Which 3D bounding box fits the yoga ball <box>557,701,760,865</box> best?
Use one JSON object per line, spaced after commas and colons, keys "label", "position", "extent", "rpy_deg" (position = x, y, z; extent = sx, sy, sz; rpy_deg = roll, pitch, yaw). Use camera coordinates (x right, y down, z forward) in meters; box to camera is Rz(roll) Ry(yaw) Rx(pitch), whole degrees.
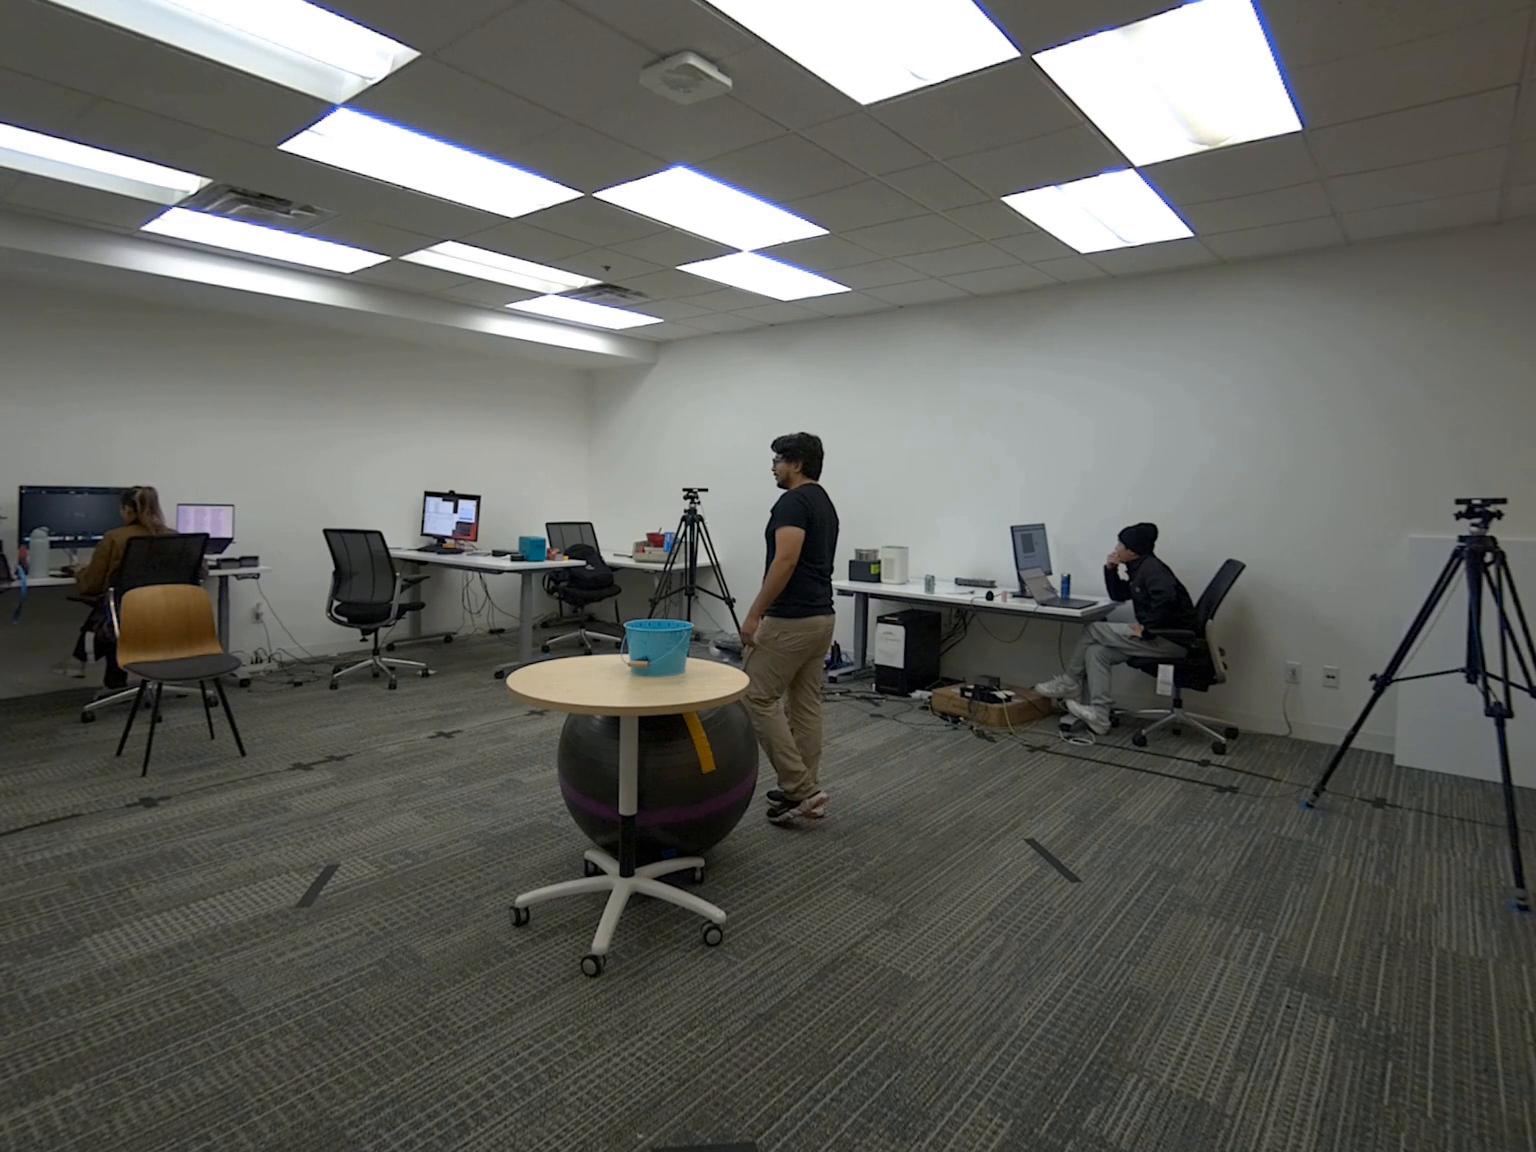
{"label": "yoga ball", "position": [-0.425, 0.691, 3.209], "extent": [0.757, 0.755, 0.762], "rpy_deg": [1, 4, -2]}
